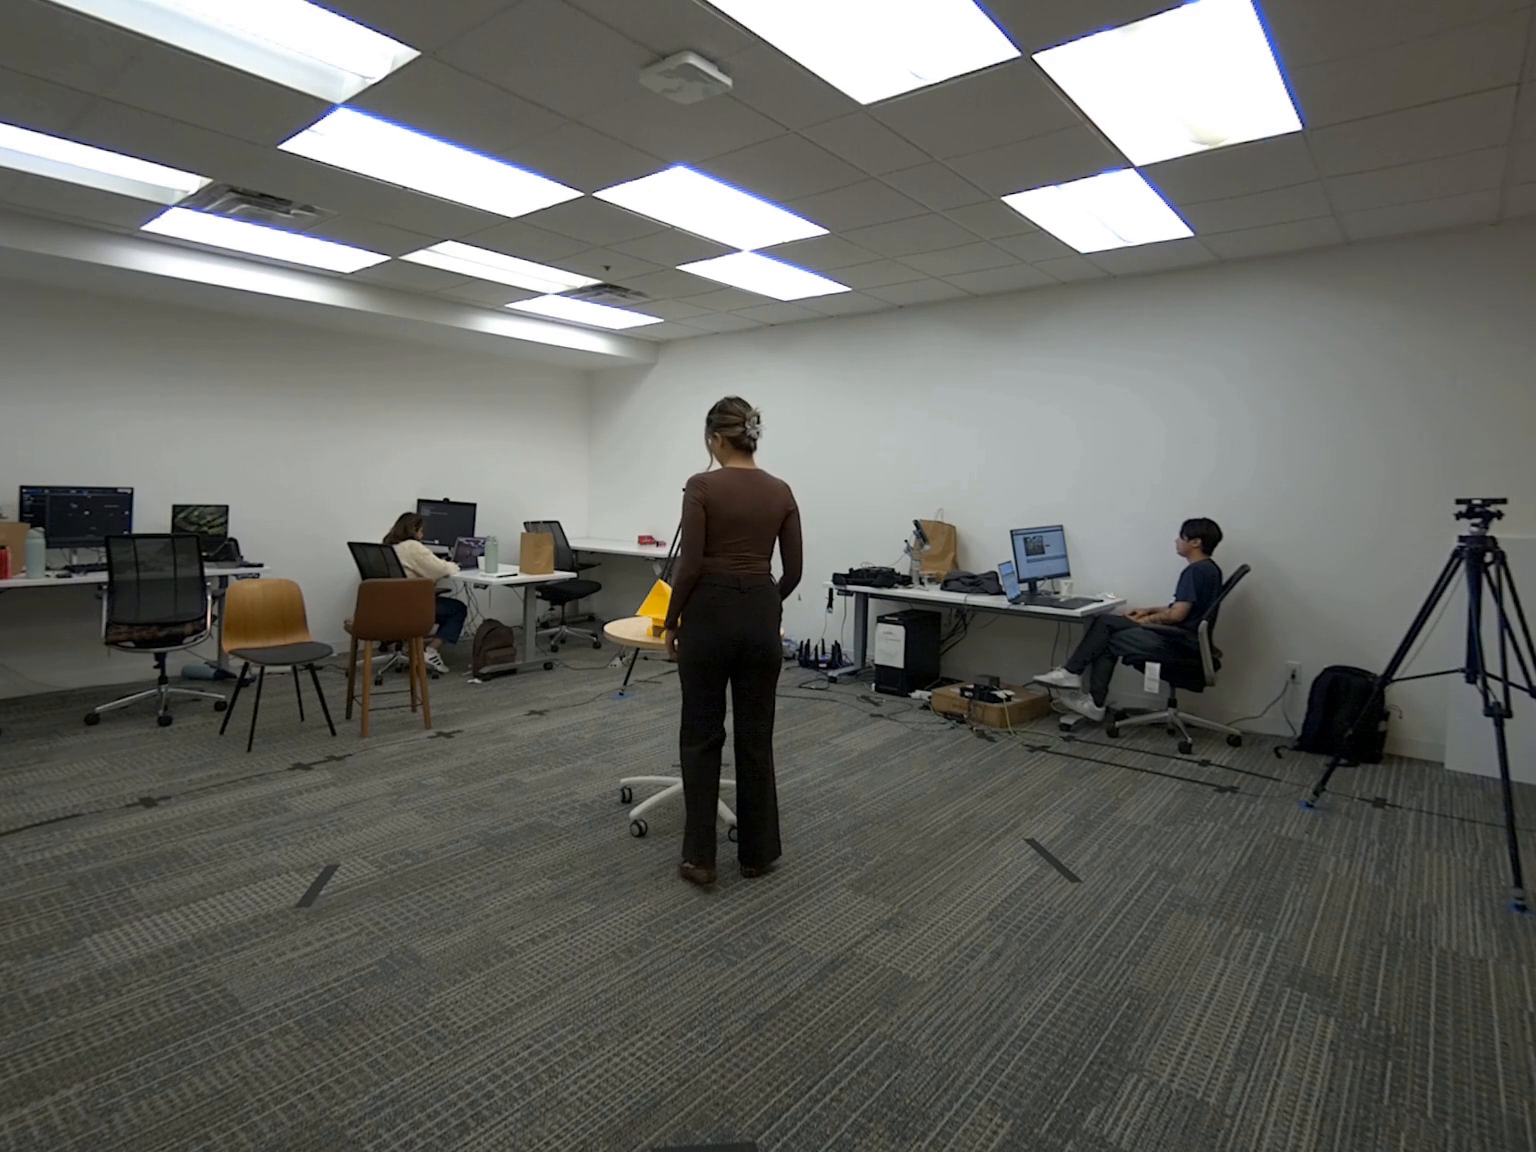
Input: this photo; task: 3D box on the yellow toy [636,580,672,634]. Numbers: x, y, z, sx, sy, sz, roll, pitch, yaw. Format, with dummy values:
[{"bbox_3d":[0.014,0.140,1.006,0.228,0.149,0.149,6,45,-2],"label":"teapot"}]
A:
[{"bbox_3d":[-0.410,0.122,3.444,0.212,0.230,0.187,4,5,40],"label":"yellow toy"}]
